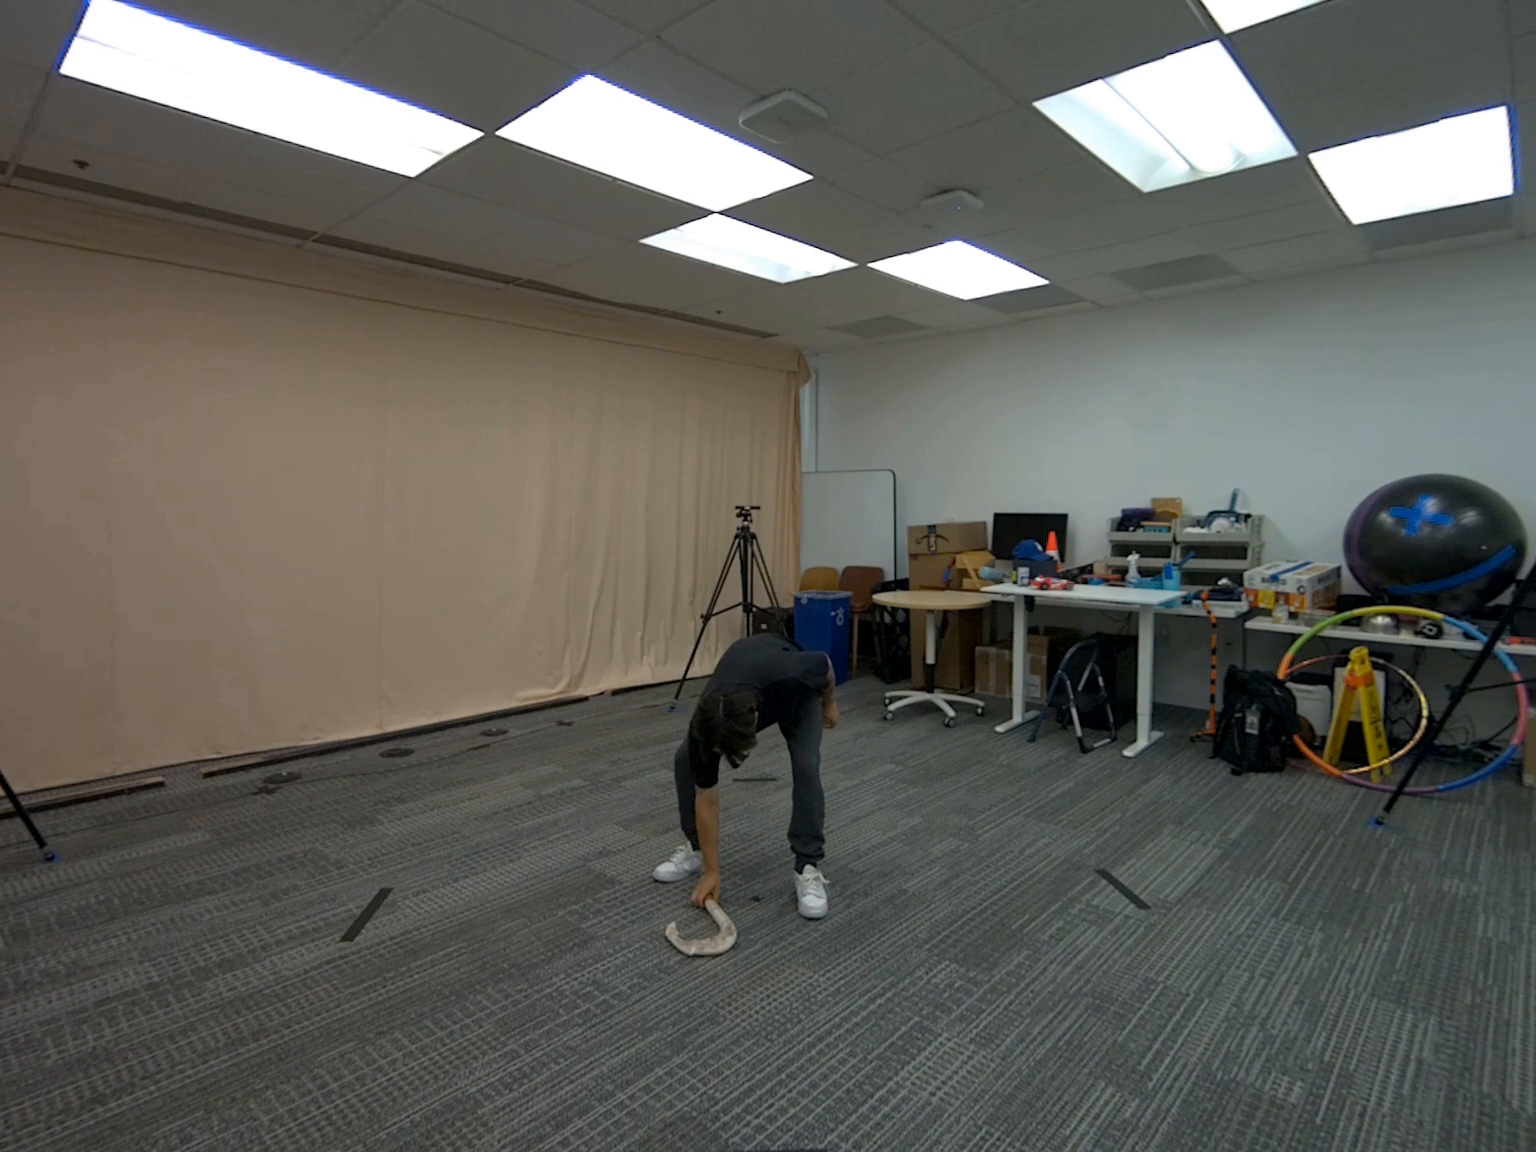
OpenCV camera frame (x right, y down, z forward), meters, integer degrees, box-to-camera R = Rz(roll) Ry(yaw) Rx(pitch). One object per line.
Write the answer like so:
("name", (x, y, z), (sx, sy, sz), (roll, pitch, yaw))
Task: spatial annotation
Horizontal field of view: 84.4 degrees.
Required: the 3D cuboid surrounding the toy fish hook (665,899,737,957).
("toy fish hook", (-0.240, 1.123, 2.836), (0.223, 0.048, 0.512), (1, 5, -9))
